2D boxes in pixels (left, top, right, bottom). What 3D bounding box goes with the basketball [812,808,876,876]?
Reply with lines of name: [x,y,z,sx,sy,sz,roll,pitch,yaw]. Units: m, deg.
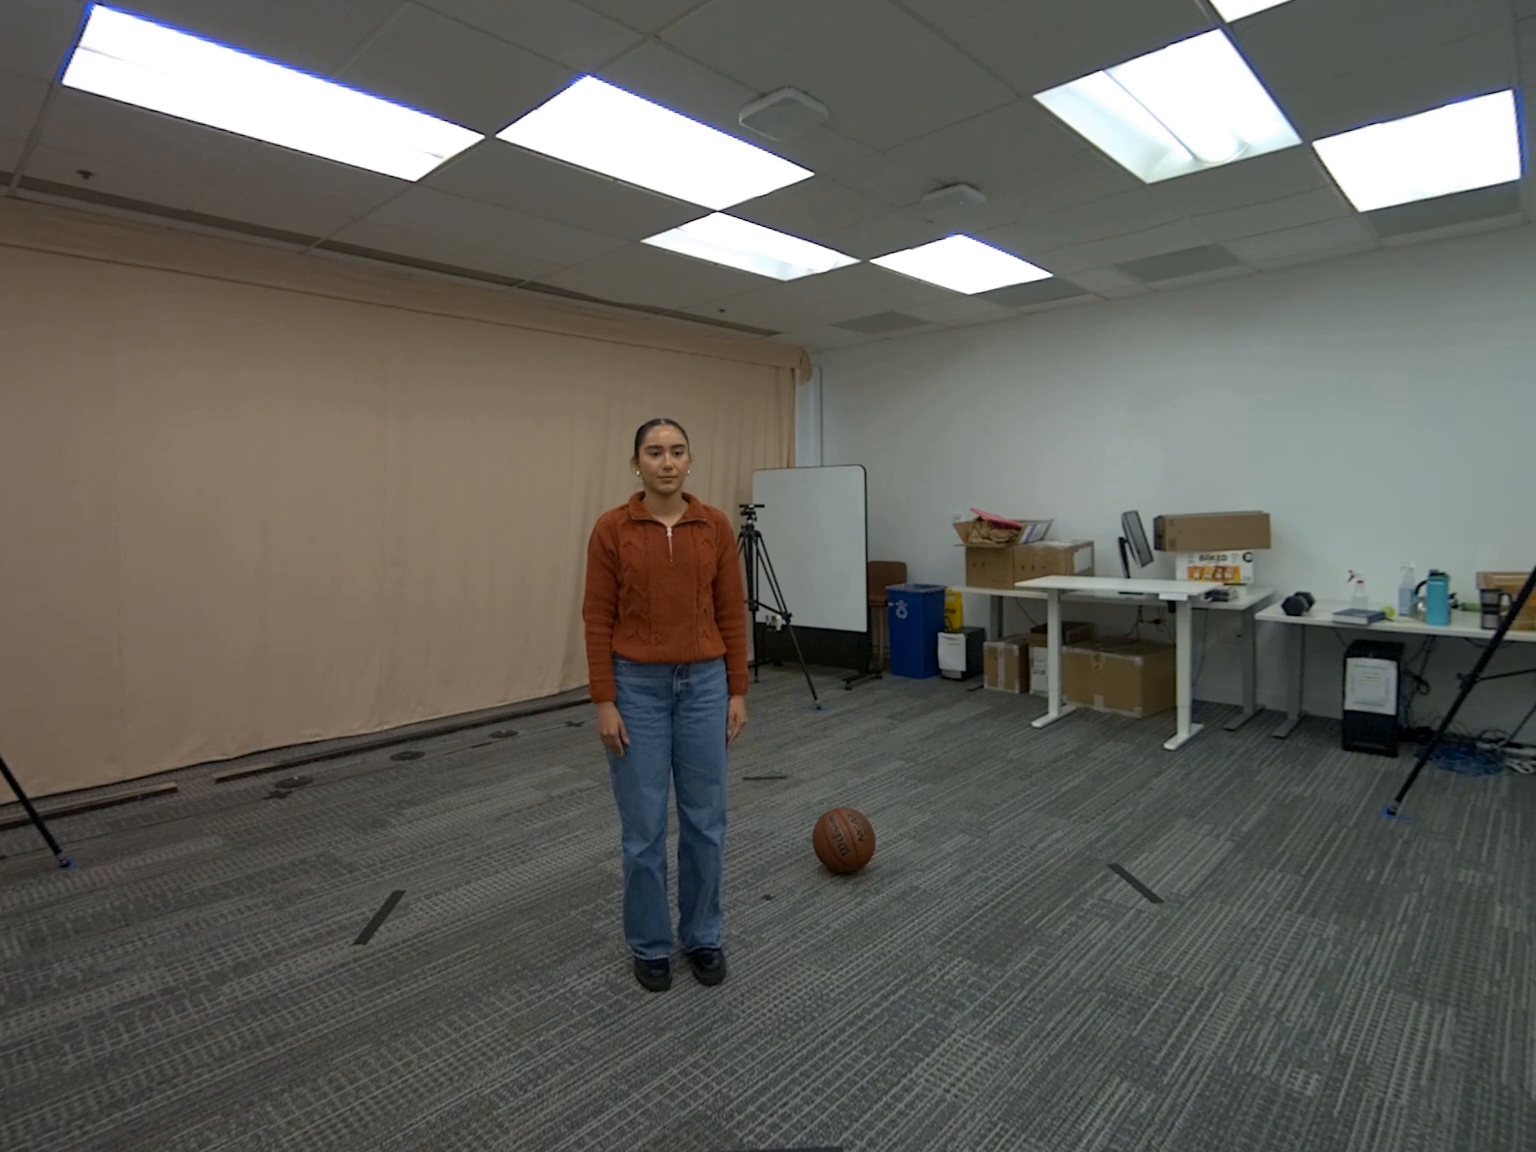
basketball: [0.293,0.992,3.176,0.236,0.235,0.237,-1,4,-2]
